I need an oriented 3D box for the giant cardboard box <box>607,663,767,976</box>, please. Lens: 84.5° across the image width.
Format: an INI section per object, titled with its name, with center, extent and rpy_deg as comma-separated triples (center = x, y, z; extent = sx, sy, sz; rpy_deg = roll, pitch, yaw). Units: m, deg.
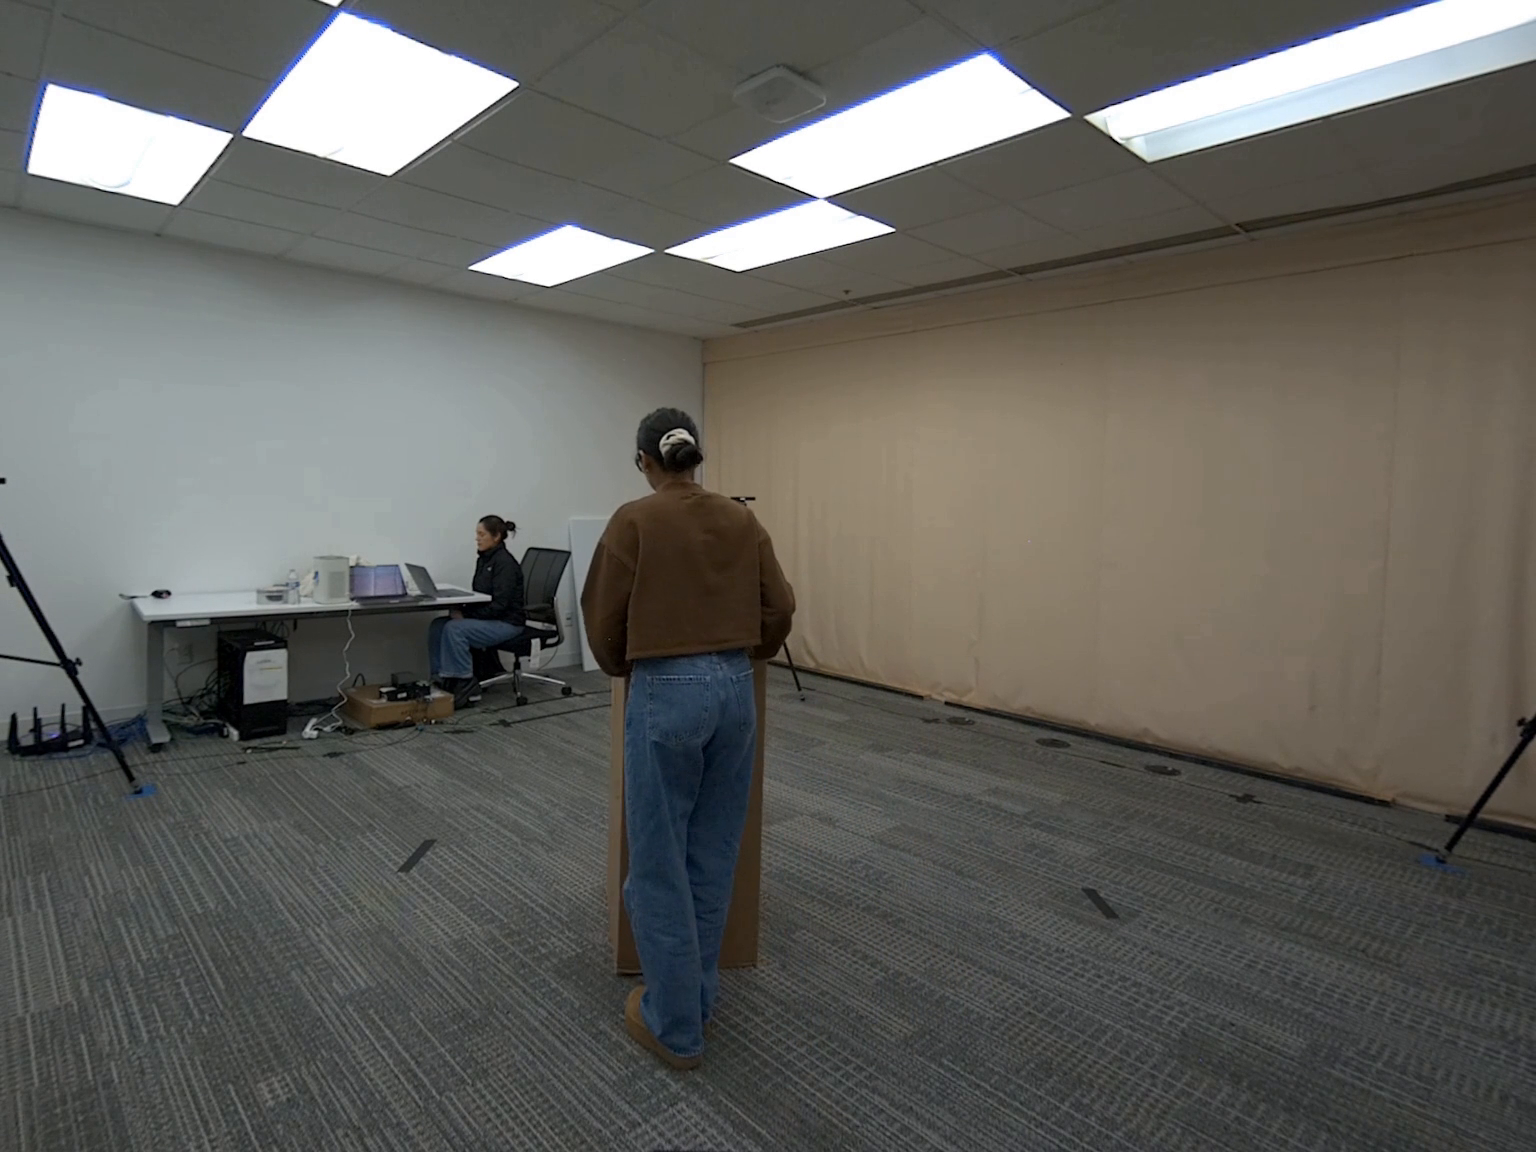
[giant cardboard box]
center = -0.283, 0.628, 2.731
extent = 0.422, 1.024, 0.584
rpy_deg = 1, 2, -13
